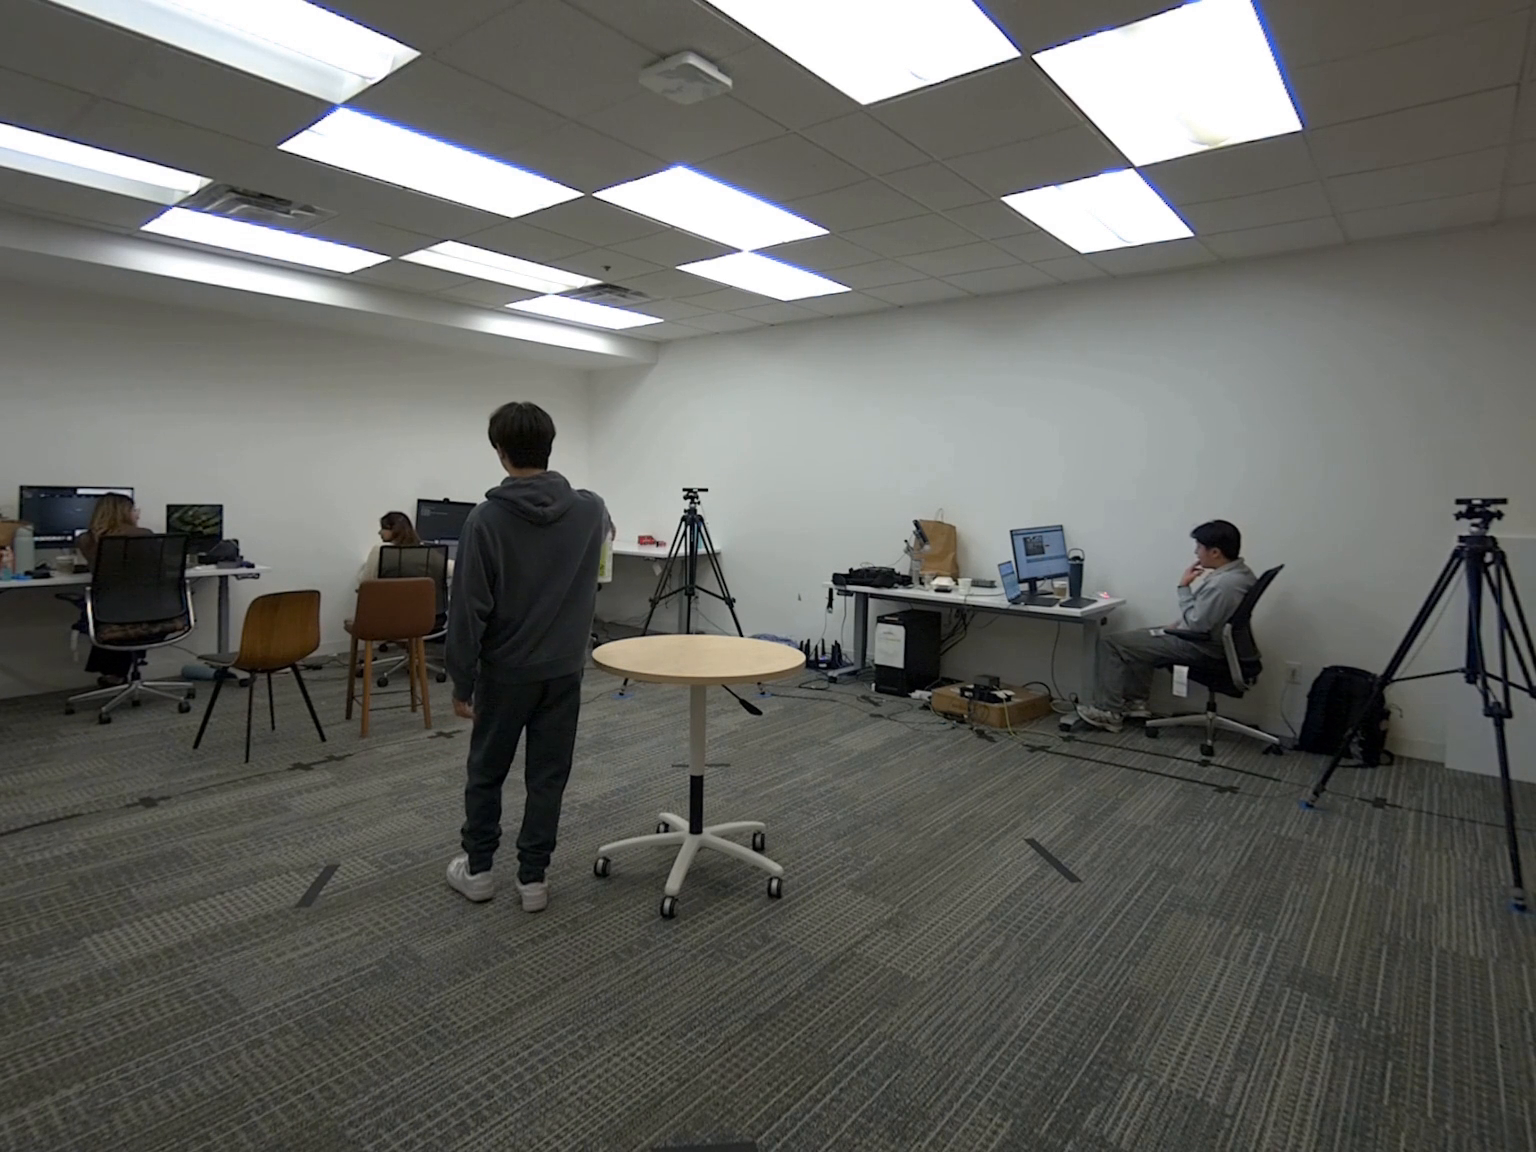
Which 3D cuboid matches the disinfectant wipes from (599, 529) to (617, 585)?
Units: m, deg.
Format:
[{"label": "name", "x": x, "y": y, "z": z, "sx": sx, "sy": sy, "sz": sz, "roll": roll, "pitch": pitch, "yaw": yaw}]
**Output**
[{"label": "disinfectant wipes", "x": -0.693, "y": -0.084, "z": 3.463, "sx": 0.118, "sy": 0.217, "sz": 0.118, "roll": 1, "pitch": 3, "yaw": -2}]
